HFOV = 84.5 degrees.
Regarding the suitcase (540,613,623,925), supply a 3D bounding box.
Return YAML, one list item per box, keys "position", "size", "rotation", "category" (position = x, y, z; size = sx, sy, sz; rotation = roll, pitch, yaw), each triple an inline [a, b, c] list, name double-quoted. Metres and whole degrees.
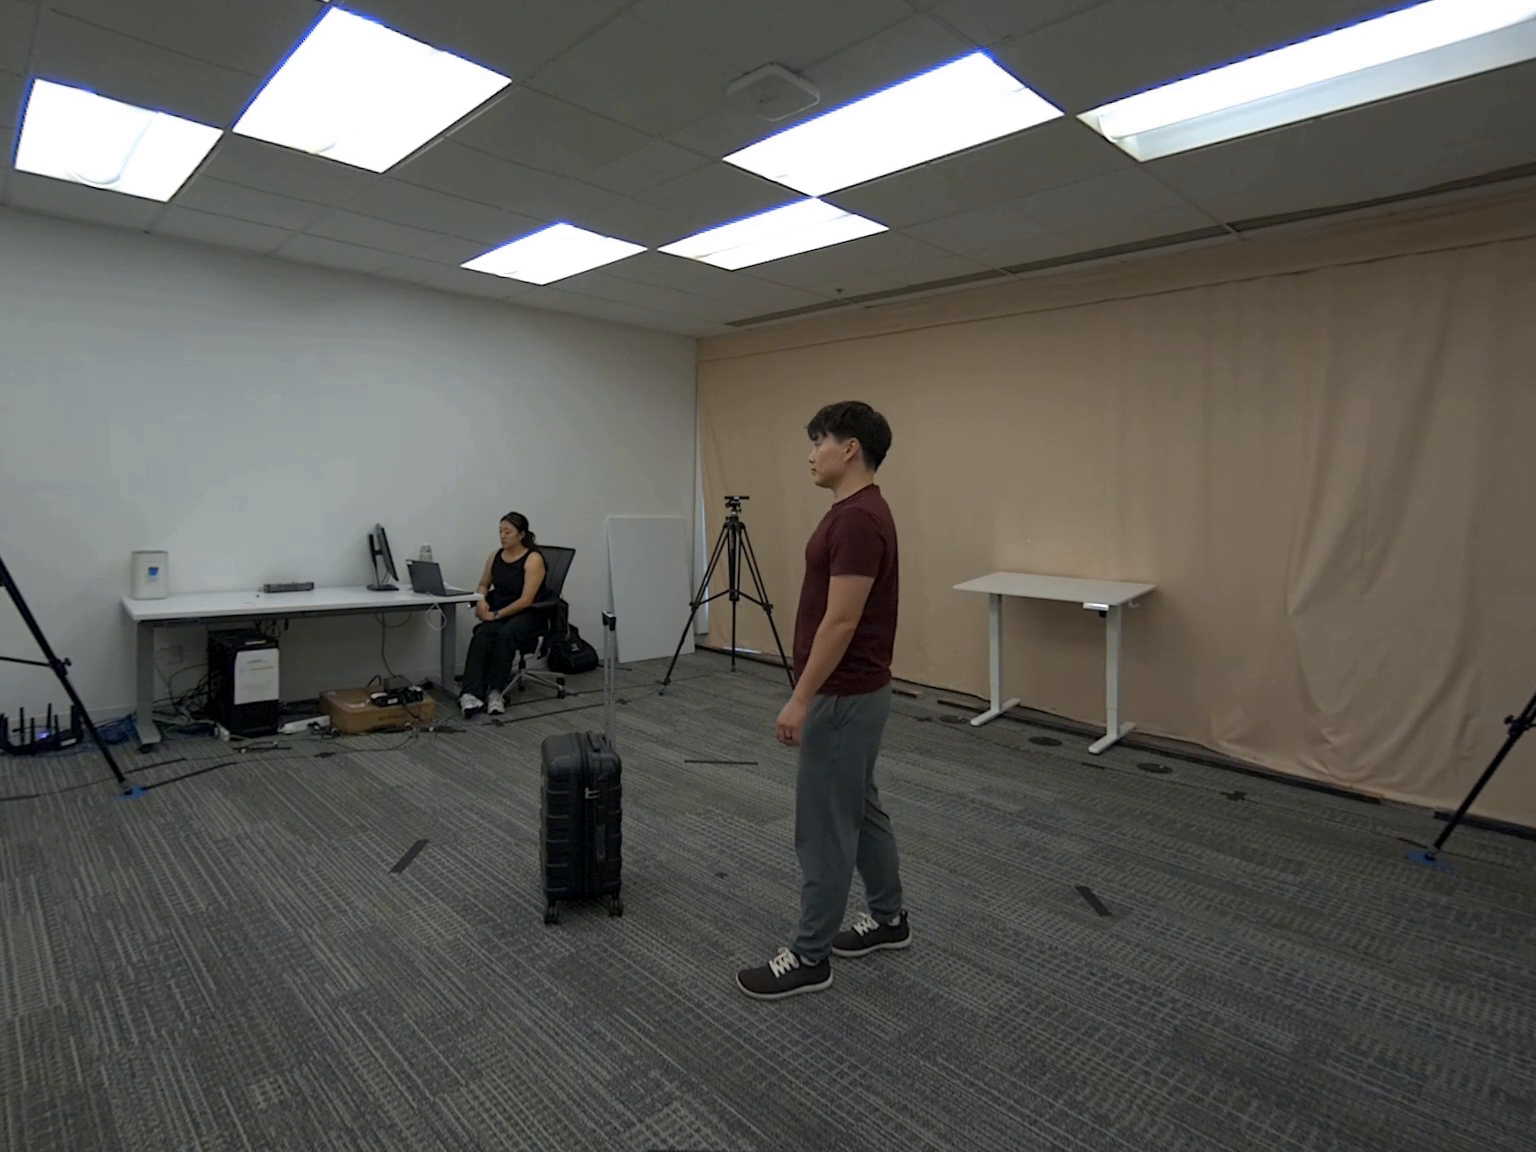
- position: [-0.657, 0.635, 2.890]
  size: [0.254, 0.976, 0.389]
  rotation: [-2, 3, -14]
  category: "suitcase"
